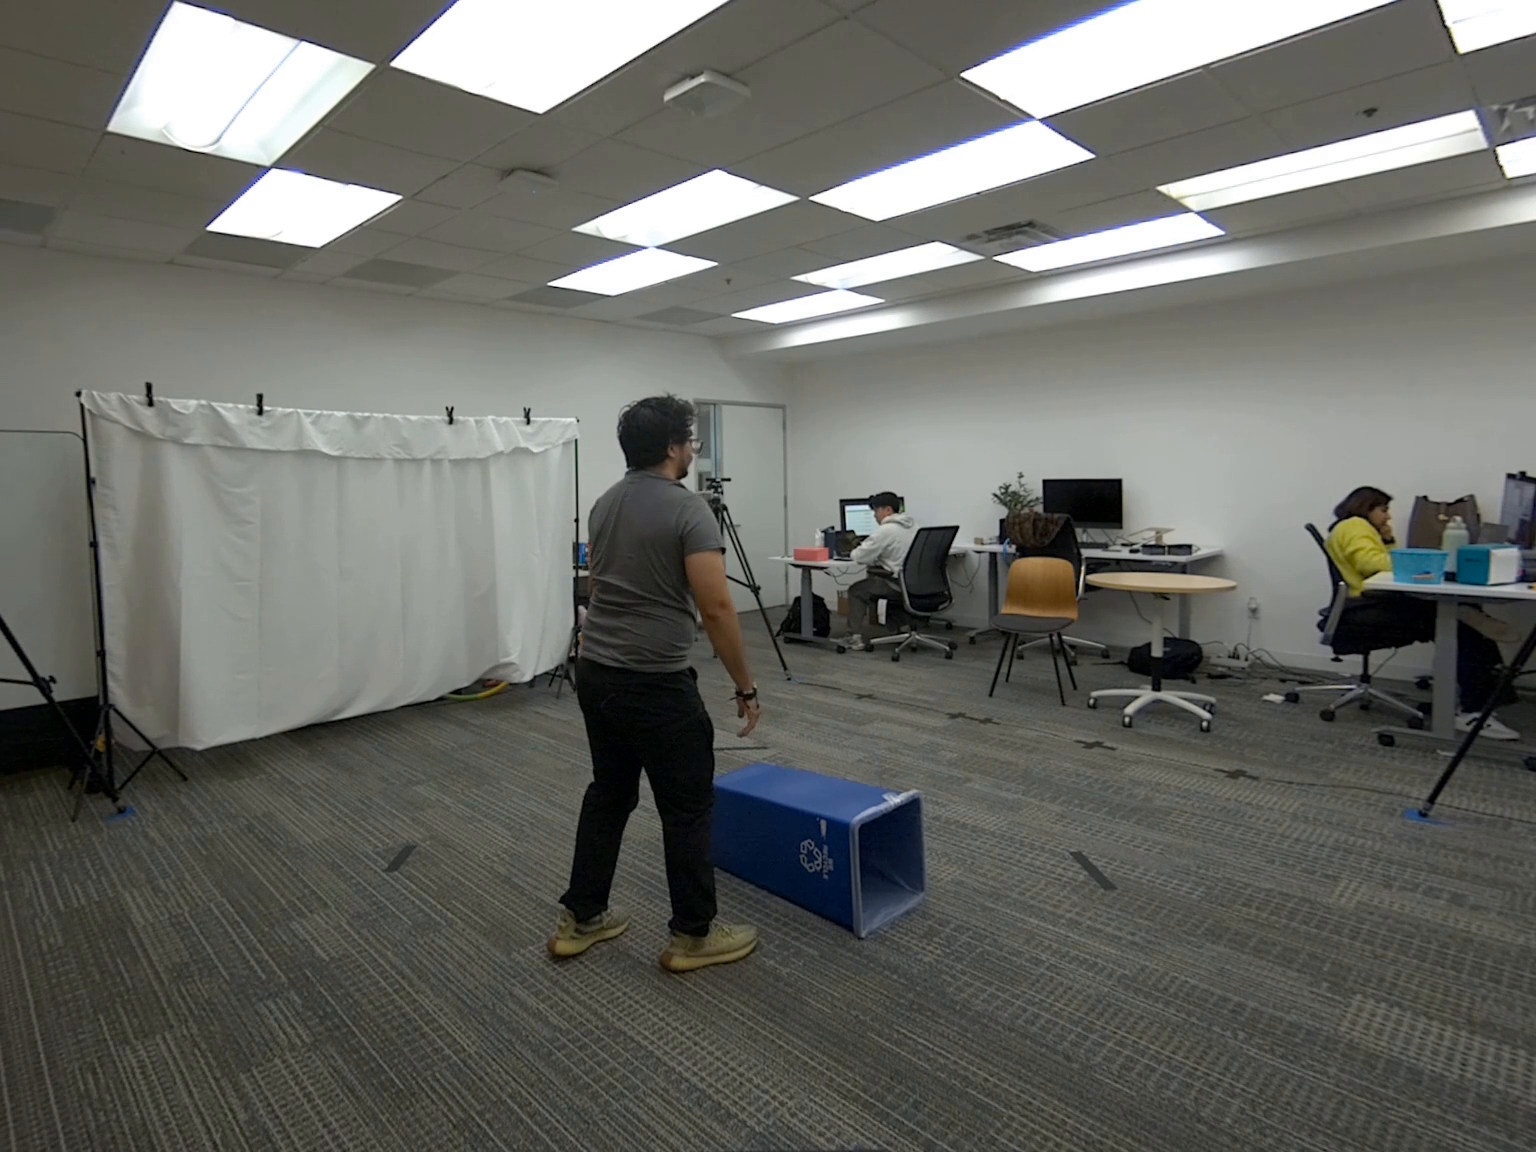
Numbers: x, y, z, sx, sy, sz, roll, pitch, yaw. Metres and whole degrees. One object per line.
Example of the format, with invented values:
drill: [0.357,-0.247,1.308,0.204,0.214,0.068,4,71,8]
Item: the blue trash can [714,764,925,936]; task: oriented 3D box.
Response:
blue trash can: [0.141,0.884,2.950,0.364,0.377,0.735,-6,6,-44]
